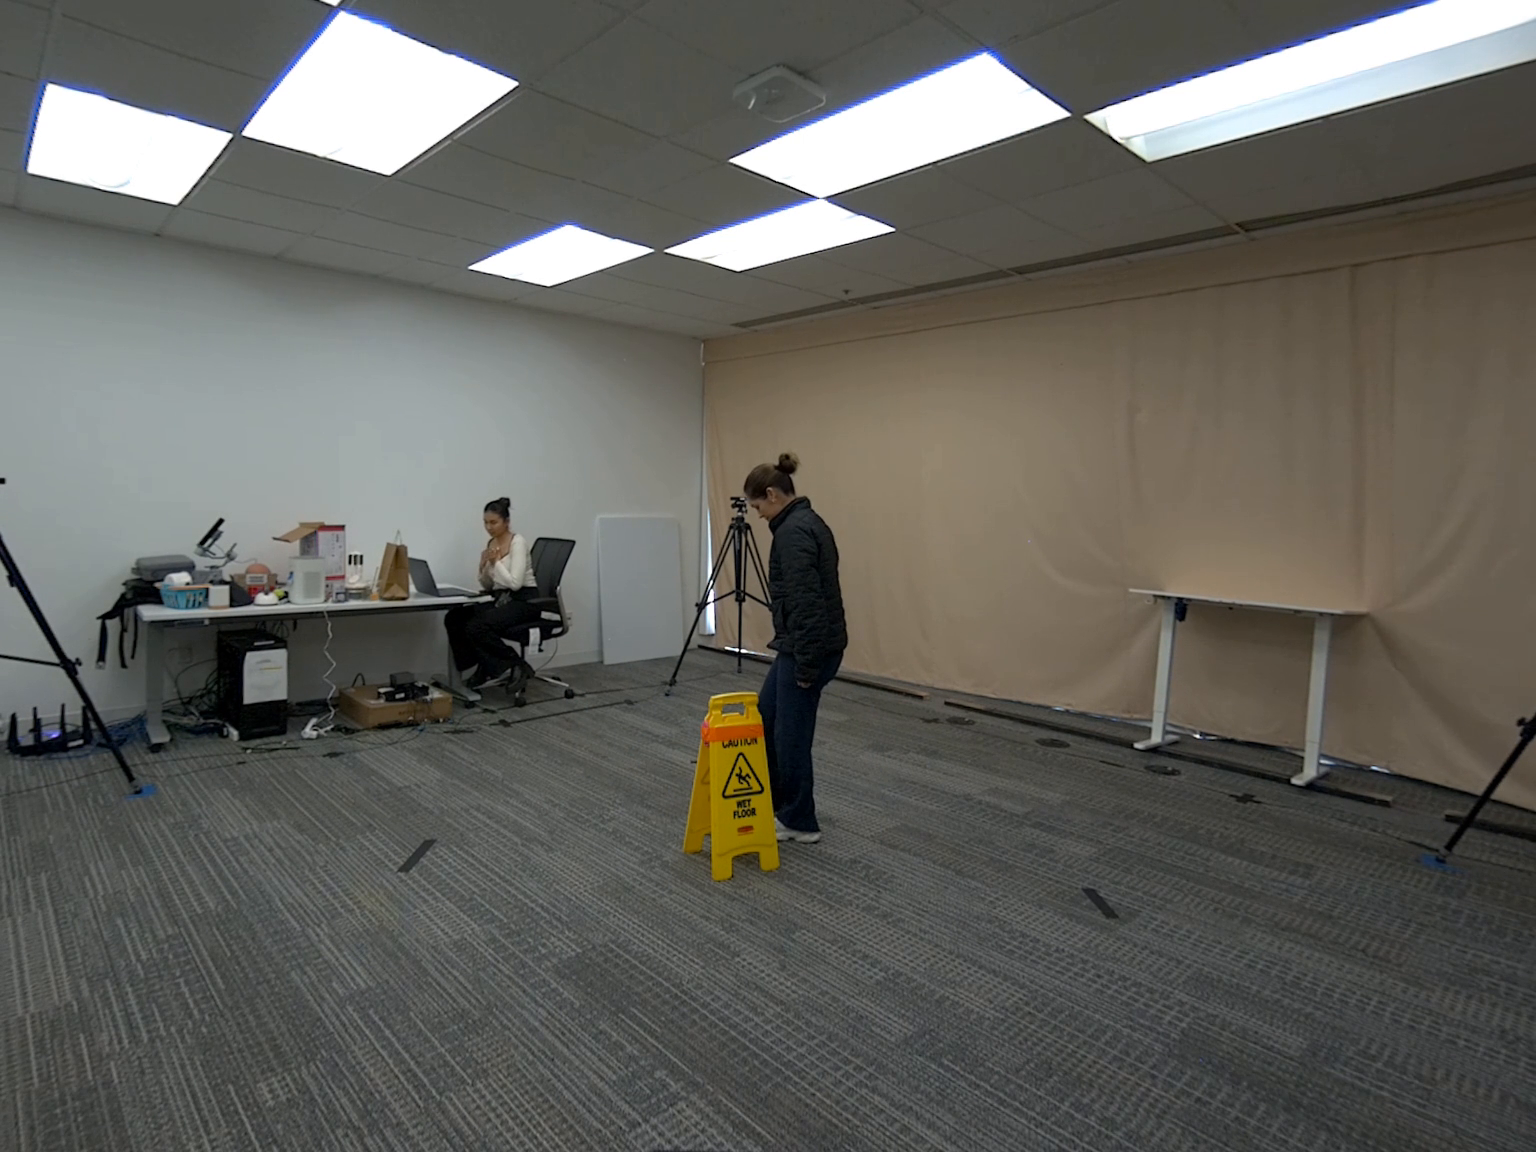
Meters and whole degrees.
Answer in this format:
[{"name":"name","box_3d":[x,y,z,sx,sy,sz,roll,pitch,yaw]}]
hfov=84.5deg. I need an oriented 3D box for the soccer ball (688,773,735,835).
[{"name":"soccer ball","box_3d":[-0.239,0.962,3.591,0.187,0.187,0.188,1,4,-1]}]
